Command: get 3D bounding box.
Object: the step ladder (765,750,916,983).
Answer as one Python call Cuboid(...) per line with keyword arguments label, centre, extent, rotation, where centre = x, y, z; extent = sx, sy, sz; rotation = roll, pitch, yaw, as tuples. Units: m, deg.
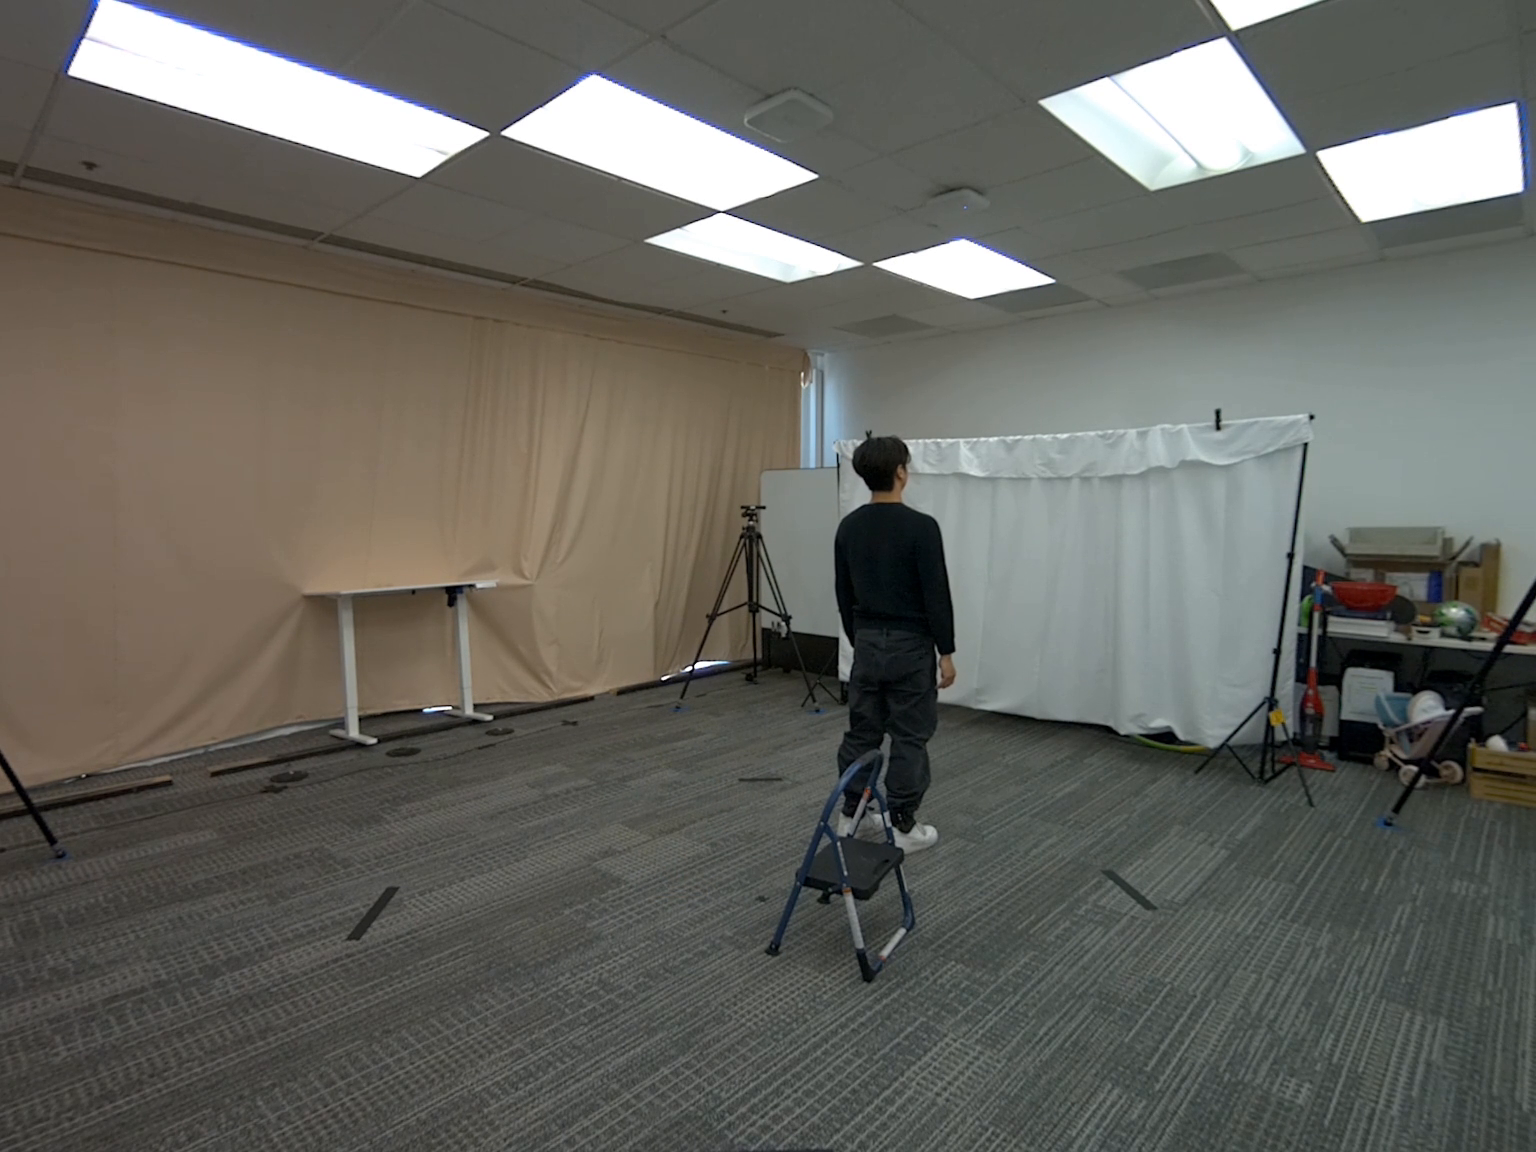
Cuboid(label="step ladder", centre=(0.244, 0.862, 2.695), extent=(0.359, 0.605, 0.419), rotation=(1, 4, 29))
